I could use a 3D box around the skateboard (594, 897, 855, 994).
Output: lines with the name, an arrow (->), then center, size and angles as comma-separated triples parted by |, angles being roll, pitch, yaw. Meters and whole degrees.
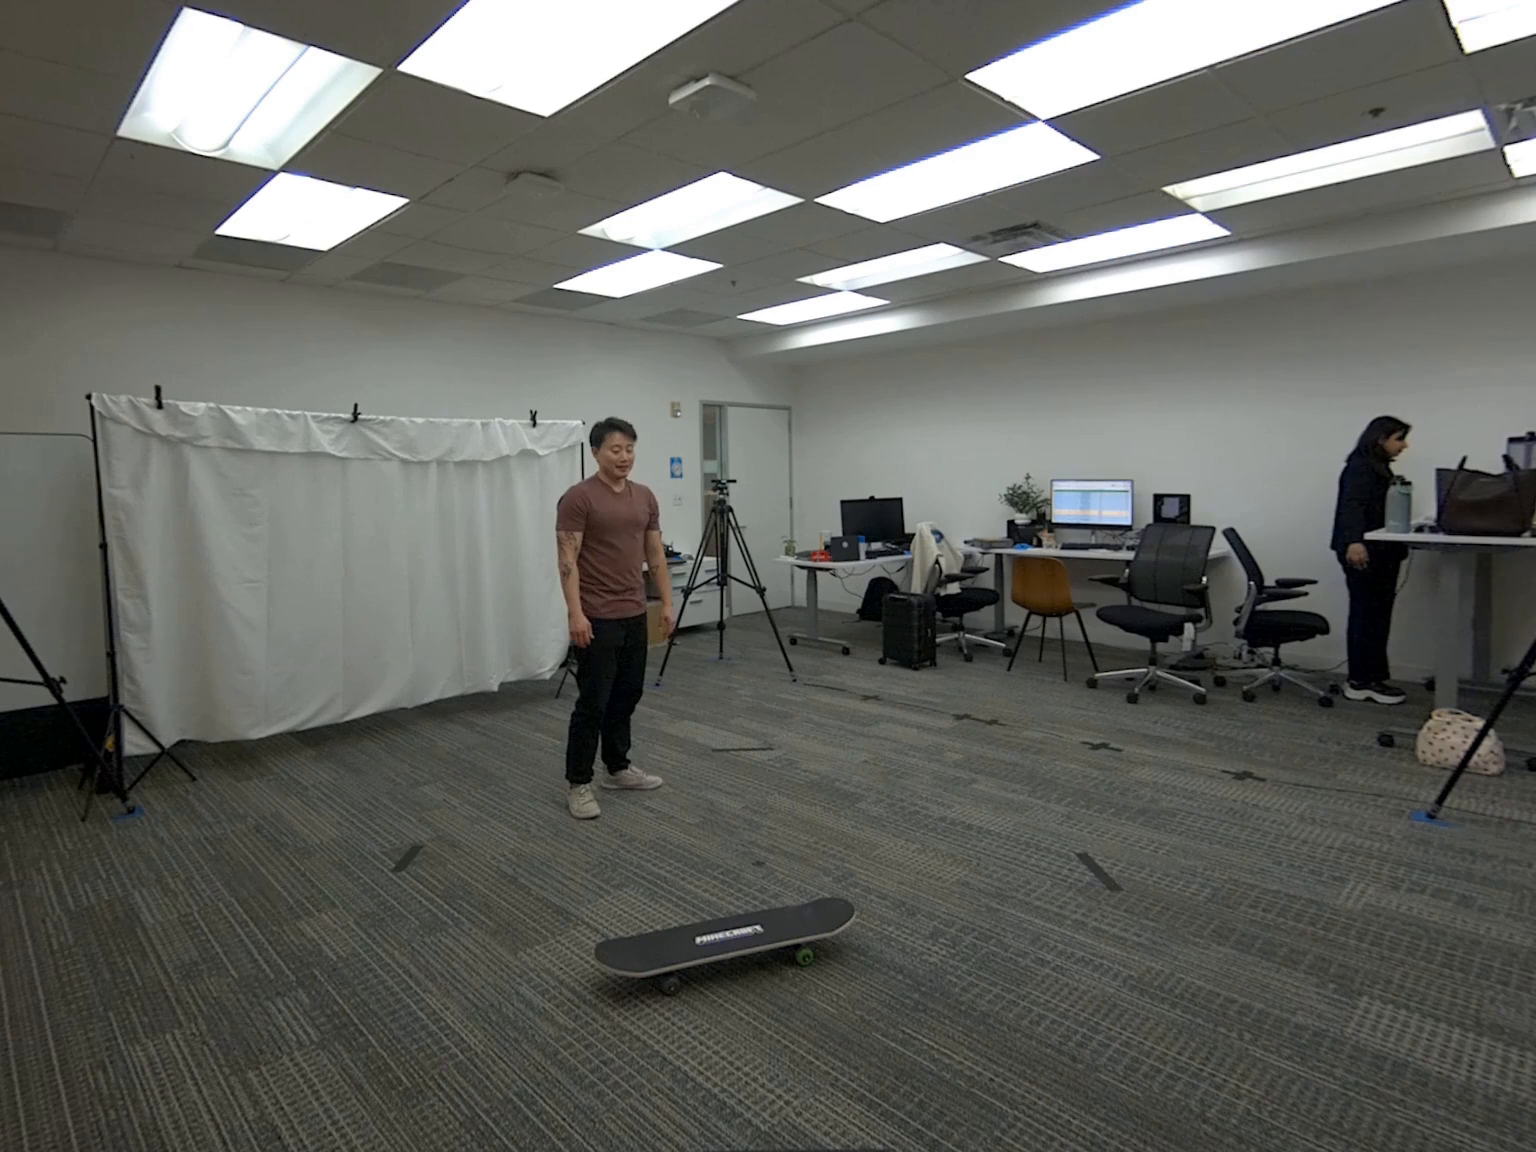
skateboard -> -0.107, 1.066, 2.469 | 0.773, 0.110, 0.197 | -3, 6, -18
